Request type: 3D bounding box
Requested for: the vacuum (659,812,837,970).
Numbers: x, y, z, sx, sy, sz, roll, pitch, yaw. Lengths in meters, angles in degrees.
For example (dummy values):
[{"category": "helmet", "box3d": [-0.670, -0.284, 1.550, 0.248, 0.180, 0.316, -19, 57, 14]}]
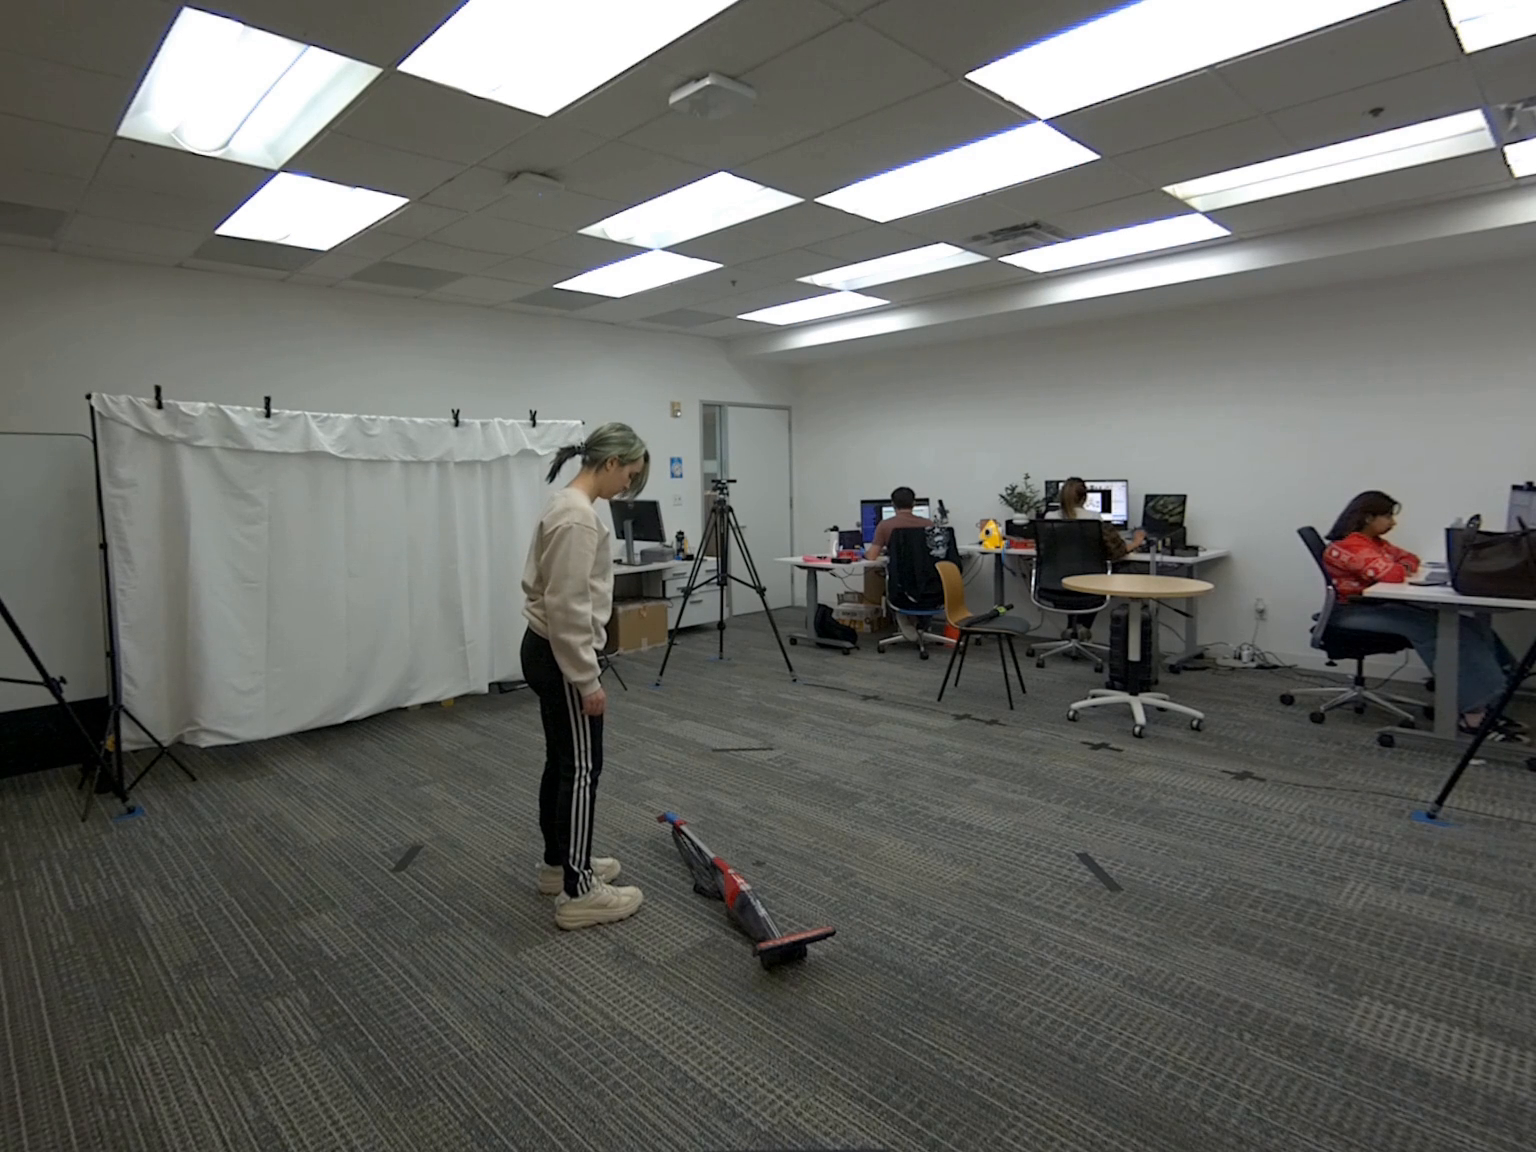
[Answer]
[{"category": "vacuum", "box3d": [-0.181, 1.012, 2.904, 0.247, 0.143, 1.076, -5, 7, -27]}]
